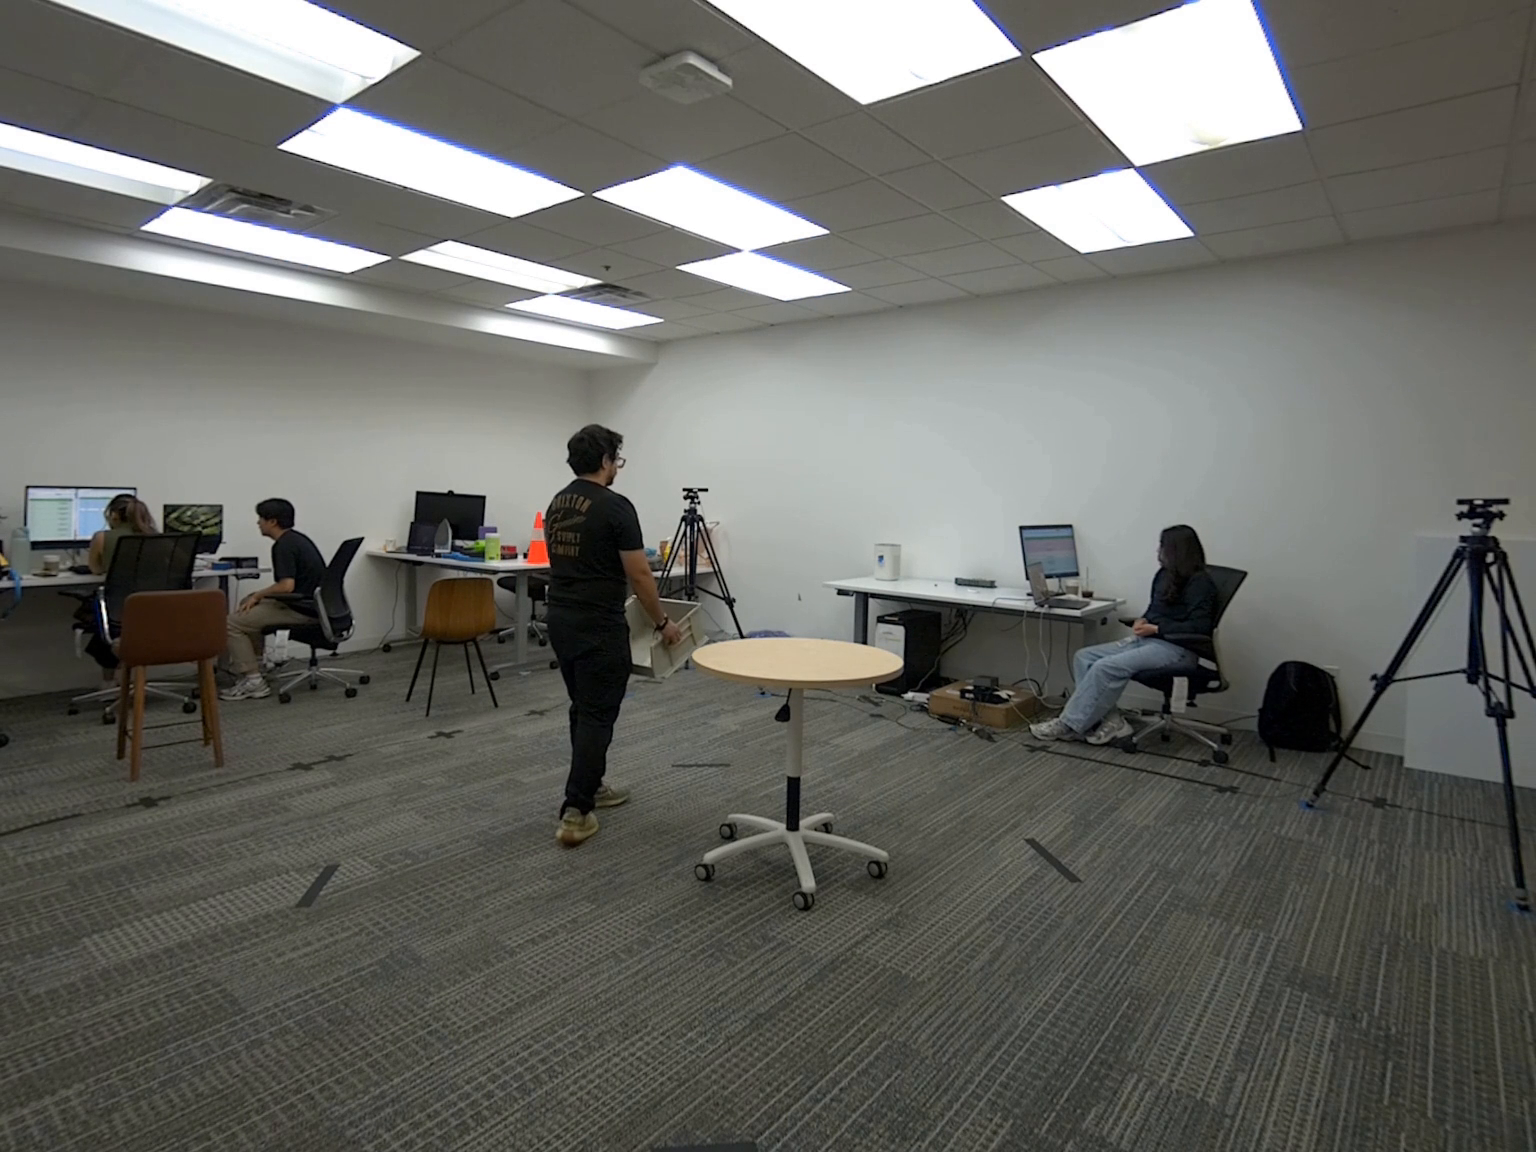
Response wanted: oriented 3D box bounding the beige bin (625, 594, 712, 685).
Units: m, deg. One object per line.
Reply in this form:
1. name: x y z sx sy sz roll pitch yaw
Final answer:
1. beige bin: -0.550 0.270 3.760 0.436 0.184 0.375 3 29 37
